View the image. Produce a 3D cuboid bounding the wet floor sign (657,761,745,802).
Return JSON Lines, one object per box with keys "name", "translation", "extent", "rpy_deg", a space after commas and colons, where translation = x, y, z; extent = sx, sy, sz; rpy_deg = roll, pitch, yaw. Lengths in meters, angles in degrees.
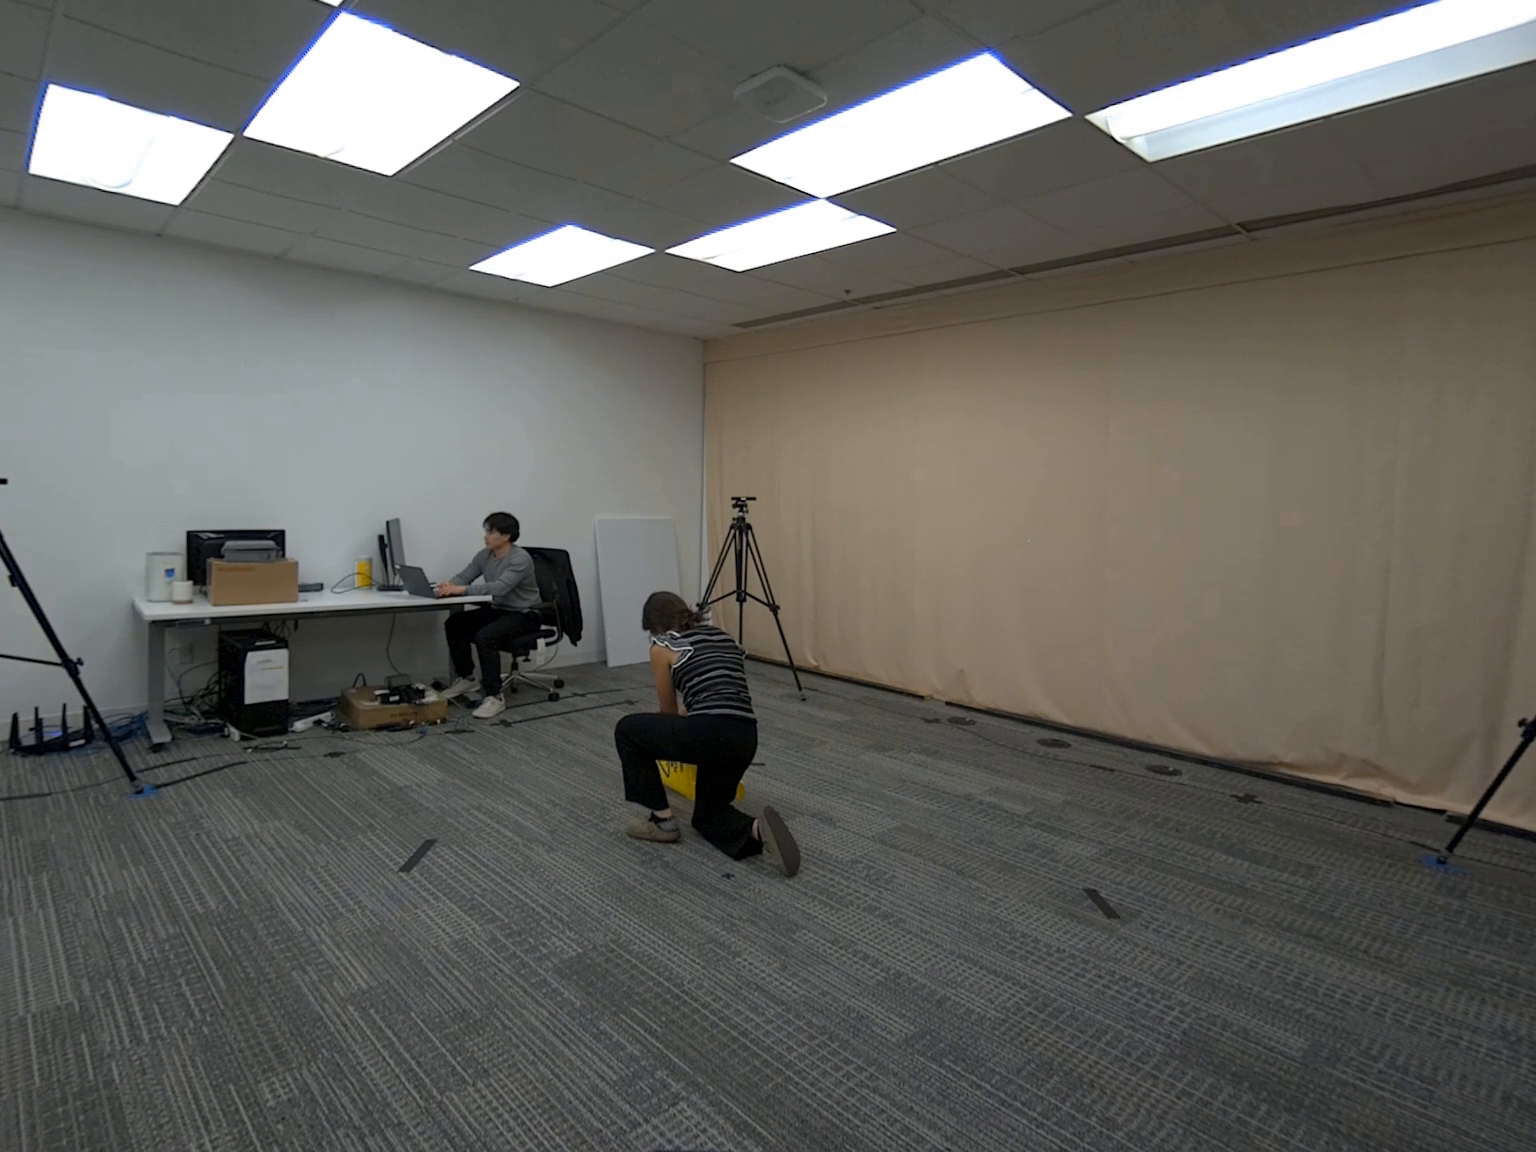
{"name": "wet floor sign", "translation": [-0.431, 0.850, 3.942], "extent": [0.282, 0.282, 0.662], "rpy_deg": [3, 0, -43]}
